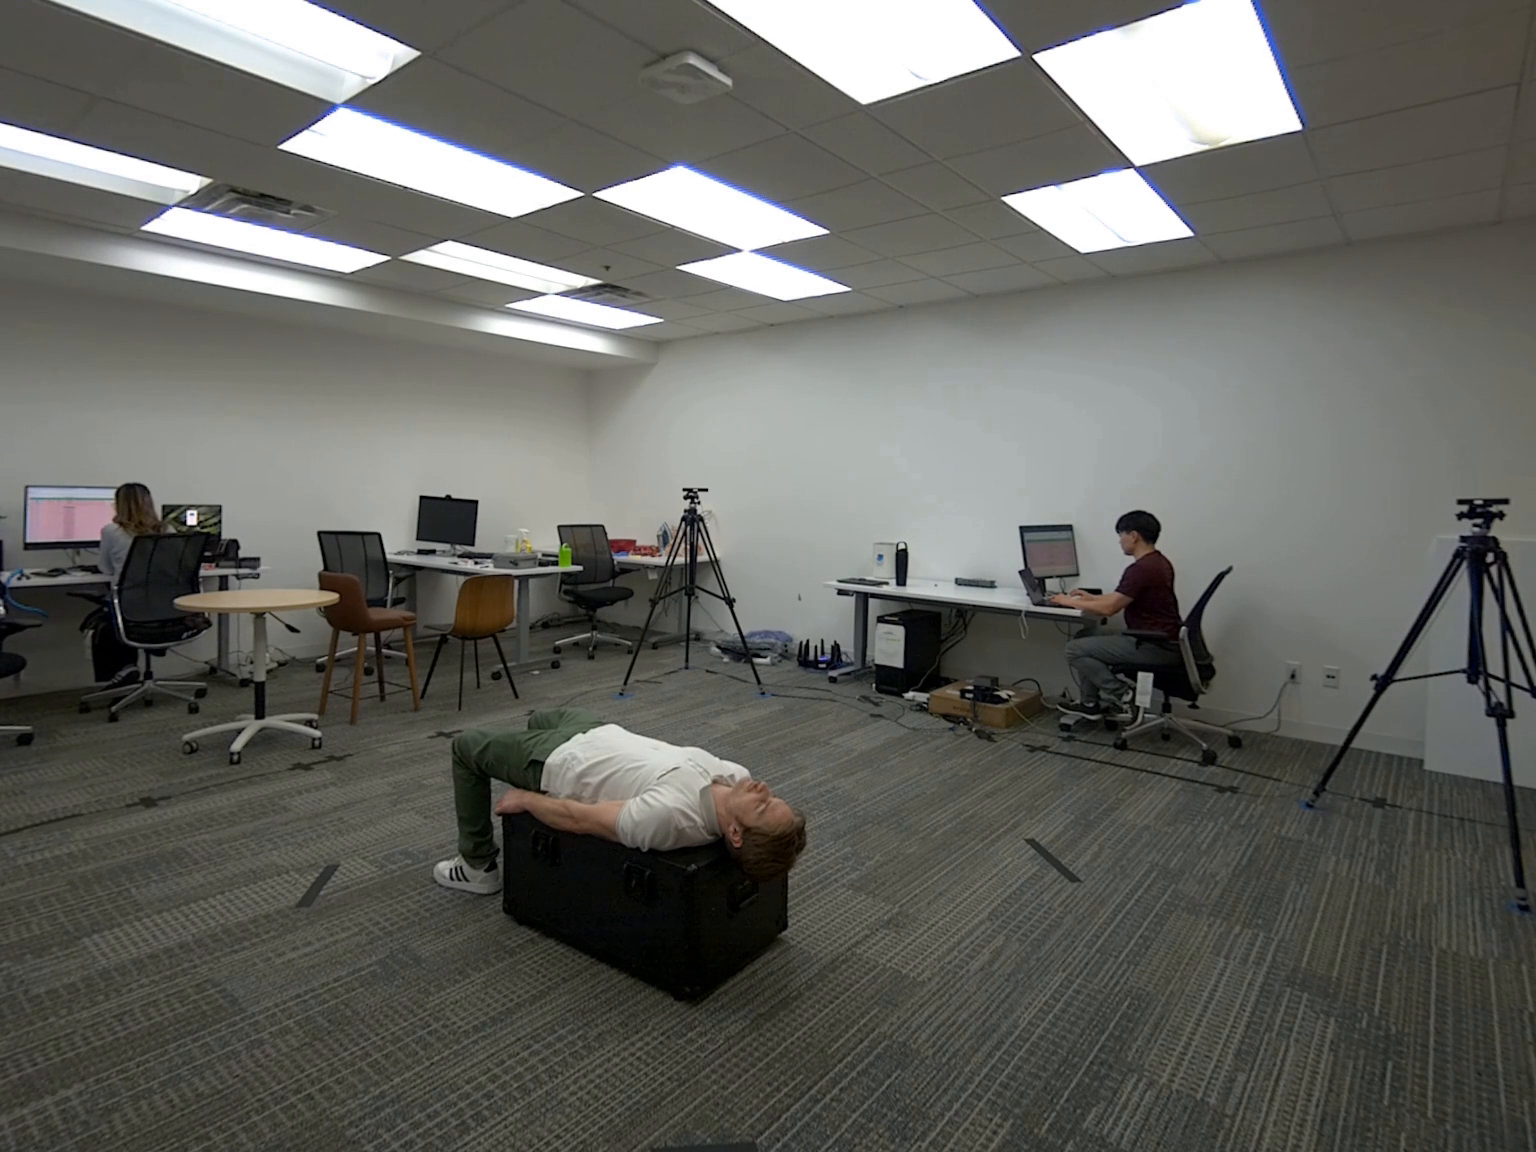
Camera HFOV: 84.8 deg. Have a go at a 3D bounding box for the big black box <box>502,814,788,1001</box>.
[{"bbox_3d":[-0.428,0.919,2.703,0.896,0.384,0.509,4,6,35],"label":"big black box"}]
